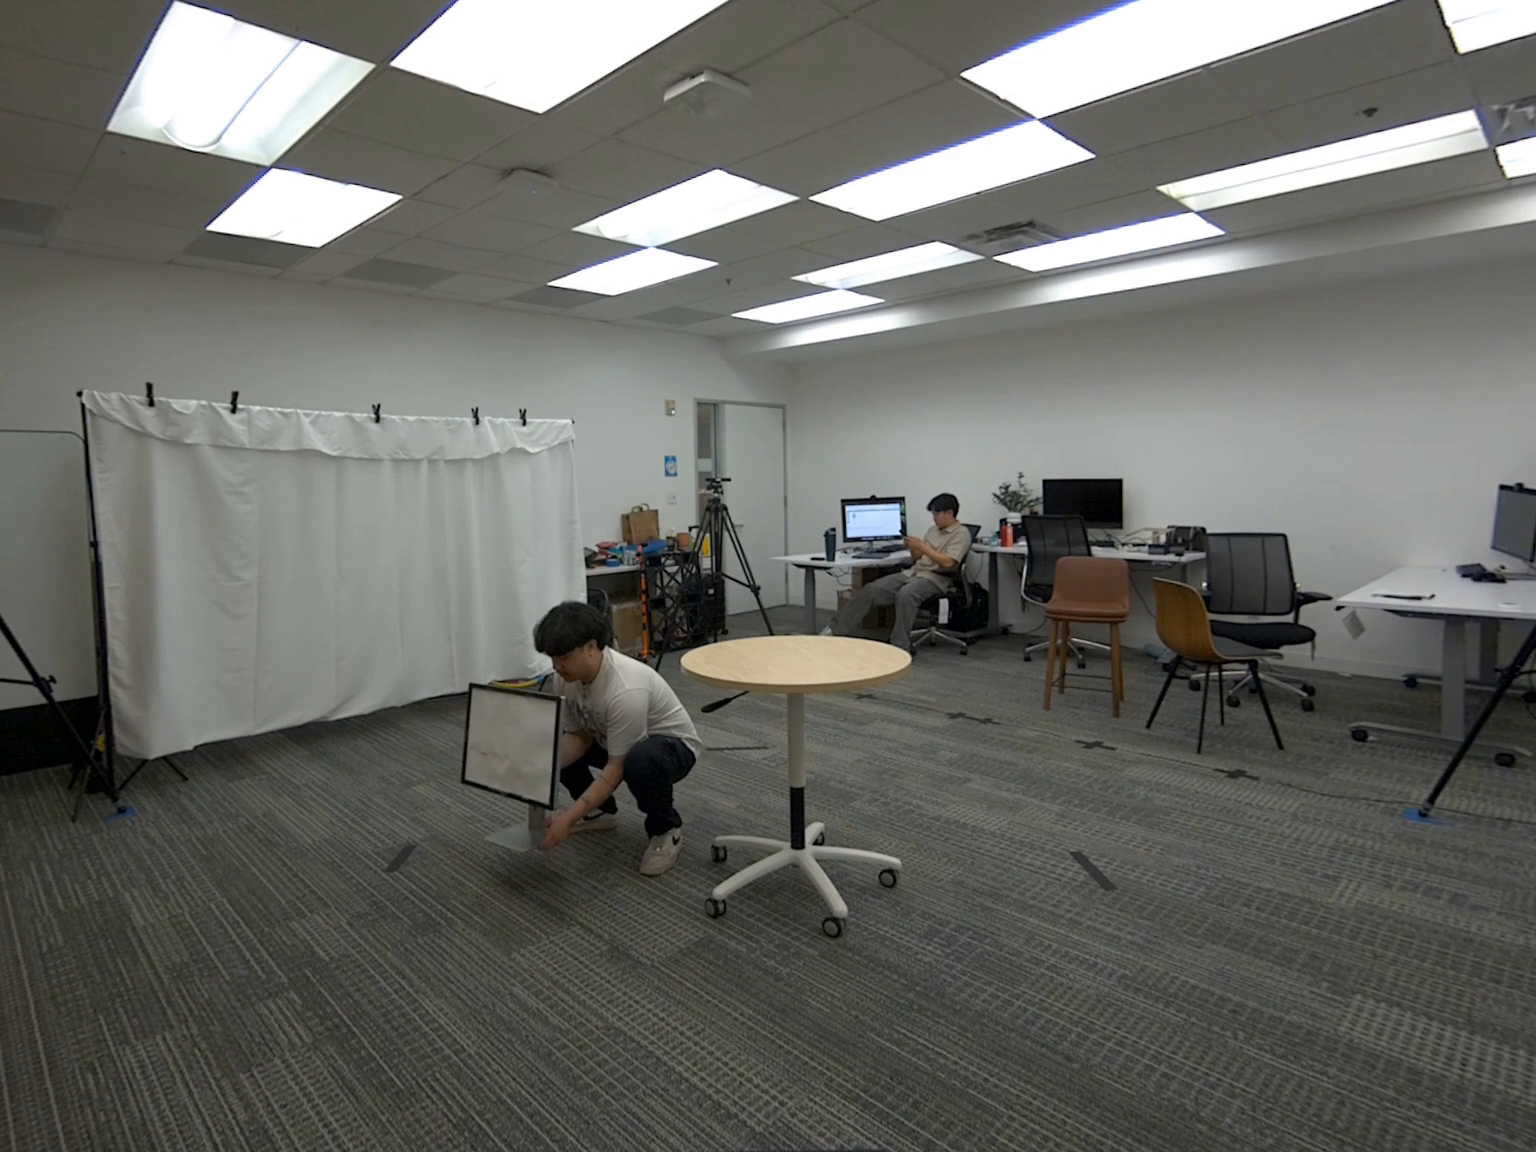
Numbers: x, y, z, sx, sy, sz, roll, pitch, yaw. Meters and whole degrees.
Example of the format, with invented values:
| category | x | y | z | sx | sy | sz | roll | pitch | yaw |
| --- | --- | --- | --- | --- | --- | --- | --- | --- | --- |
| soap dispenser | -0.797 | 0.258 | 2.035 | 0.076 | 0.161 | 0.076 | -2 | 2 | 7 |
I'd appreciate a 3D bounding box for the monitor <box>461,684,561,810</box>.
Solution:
| category | x | y | z | sx | sy | sz | roll | pitch | yaw |
| --- | --- | --- | --- | --- | --- | --- | --- | --- | --- |
| monitor | -0.844 | 0.663 | 3.000 | 0.581 | 0.555 | 0.204 | -2 | -2 | 42 |
